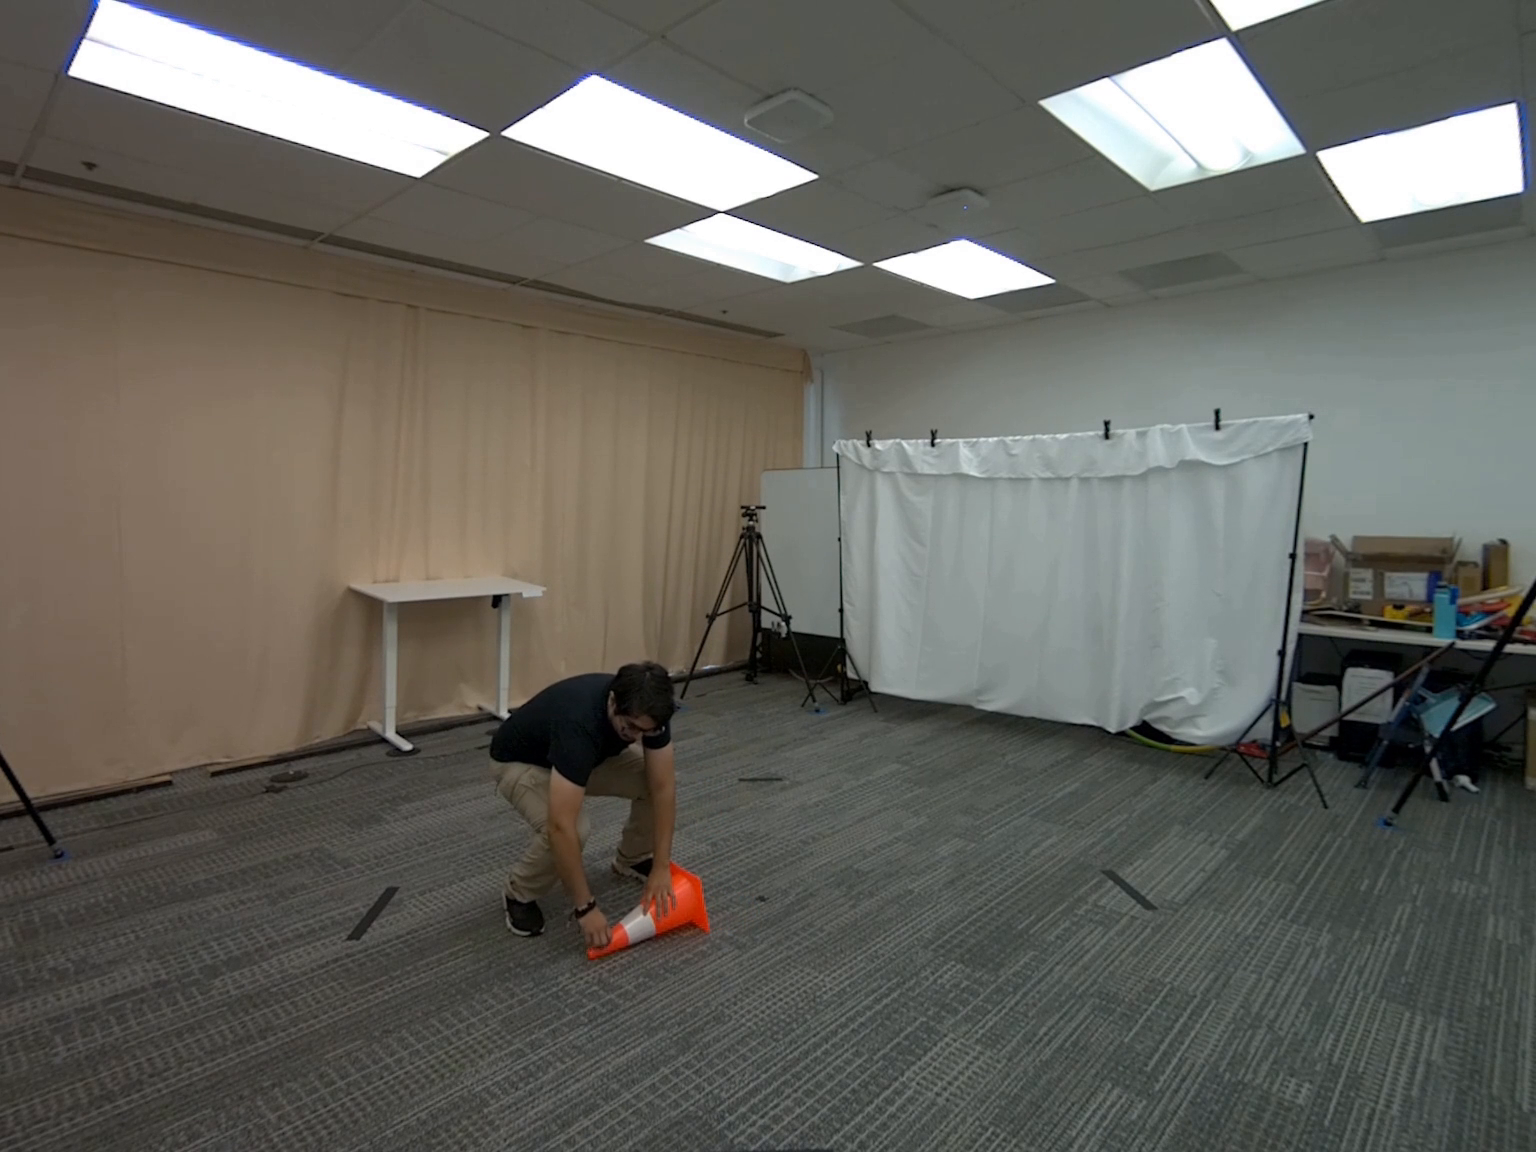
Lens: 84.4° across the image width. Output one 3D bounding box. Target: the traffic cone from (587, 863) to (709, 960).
[{"bbox_3d":[-0.410,1.114,2.693,0.375,0.202,0.211,-18,13,-35],"label":"traffic cone"}]
